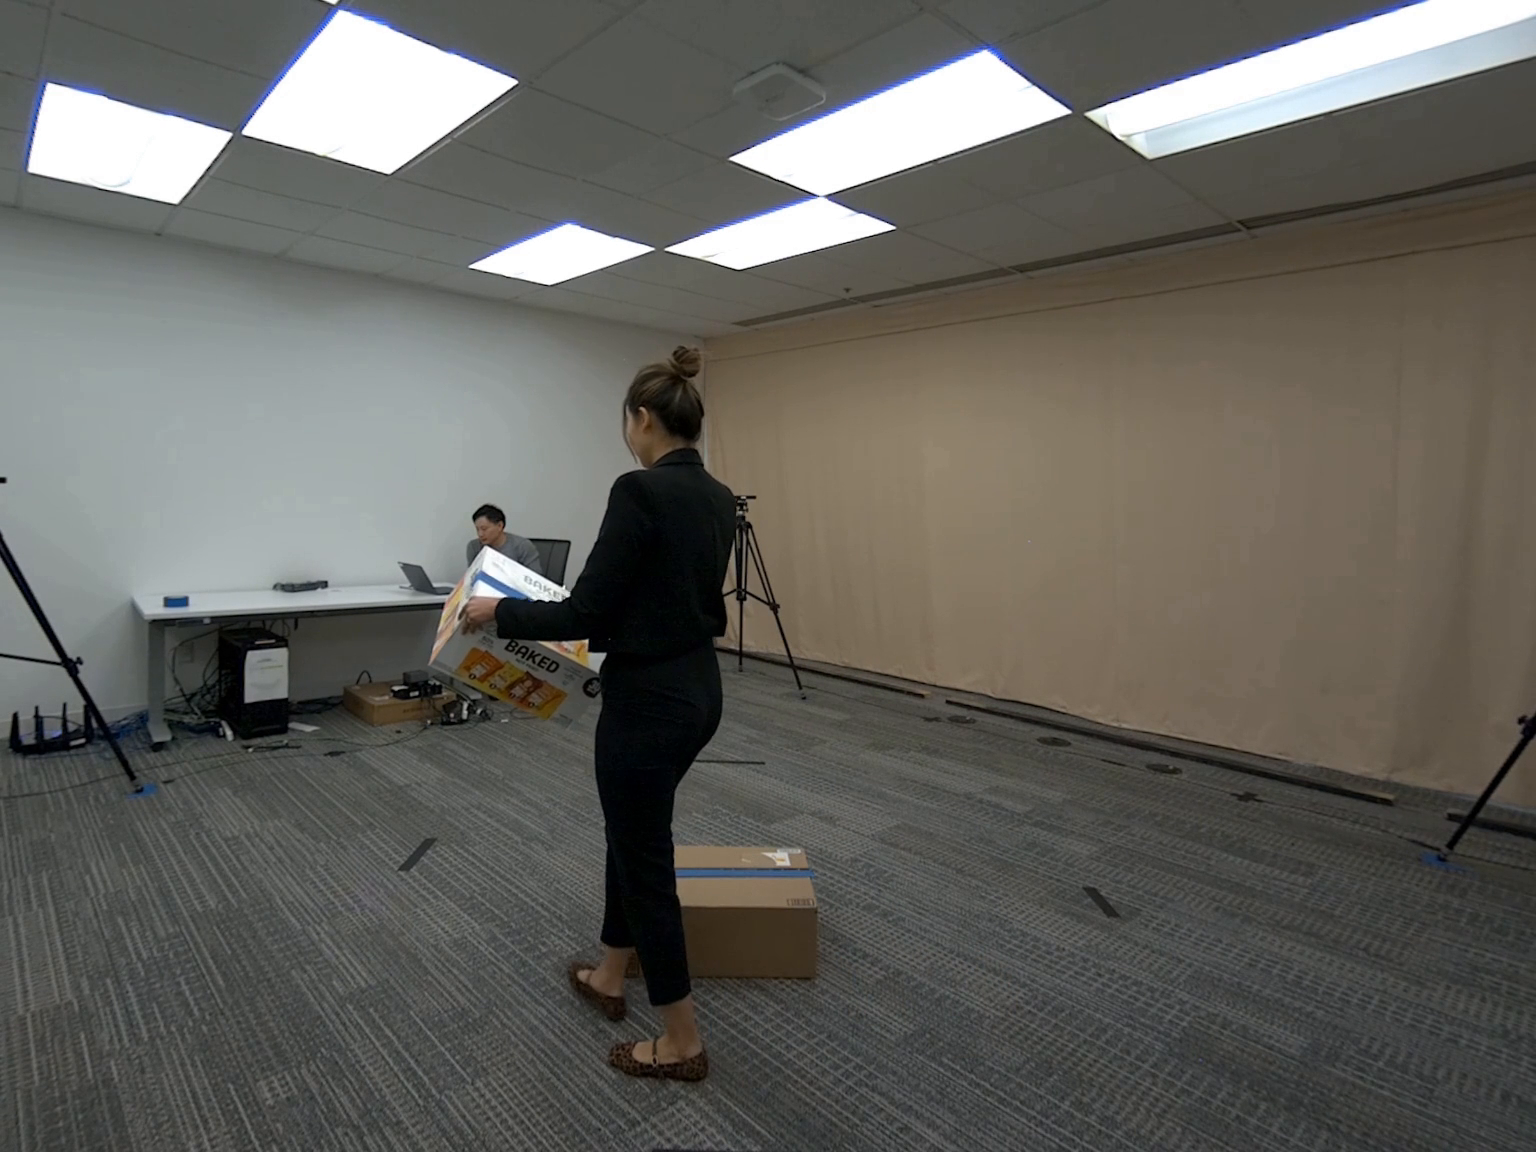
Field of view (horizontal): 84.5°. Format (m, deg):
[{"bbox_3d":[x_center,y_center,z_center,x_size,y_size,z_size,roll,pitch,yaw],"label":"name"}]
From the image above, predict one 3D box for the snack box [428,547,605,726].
[{"bbox_3d":[-0.669,0.165,2.271,0.396,0.205,0.349,33,16,-24],"label":"snack box"}]
